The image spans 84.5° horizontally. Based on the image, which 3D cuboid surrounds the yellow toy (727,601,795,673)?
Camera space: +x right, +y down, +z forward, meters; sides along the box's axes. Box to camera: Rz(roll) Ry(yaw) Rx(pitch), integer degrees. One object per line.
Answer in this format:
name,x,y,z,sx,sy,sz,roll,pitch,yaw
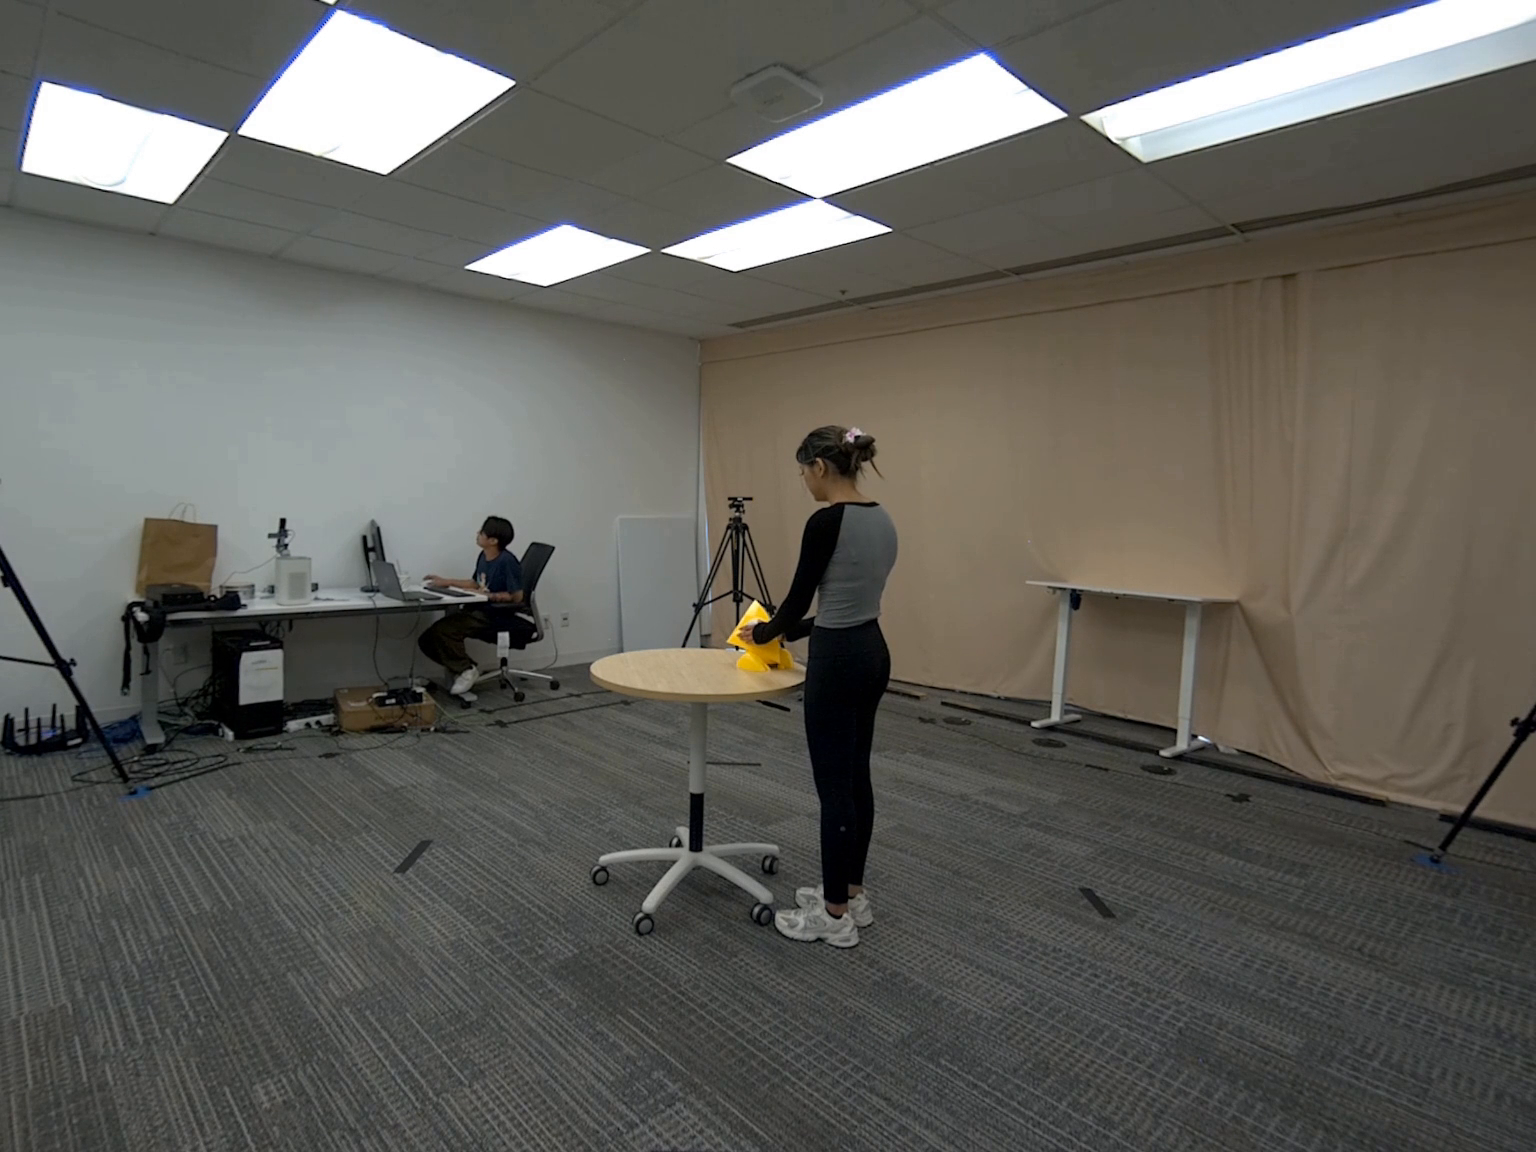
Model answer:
yellow toy,-0.019,0.212,3.029,0.200,0.230,0.198,-1,7,-38
